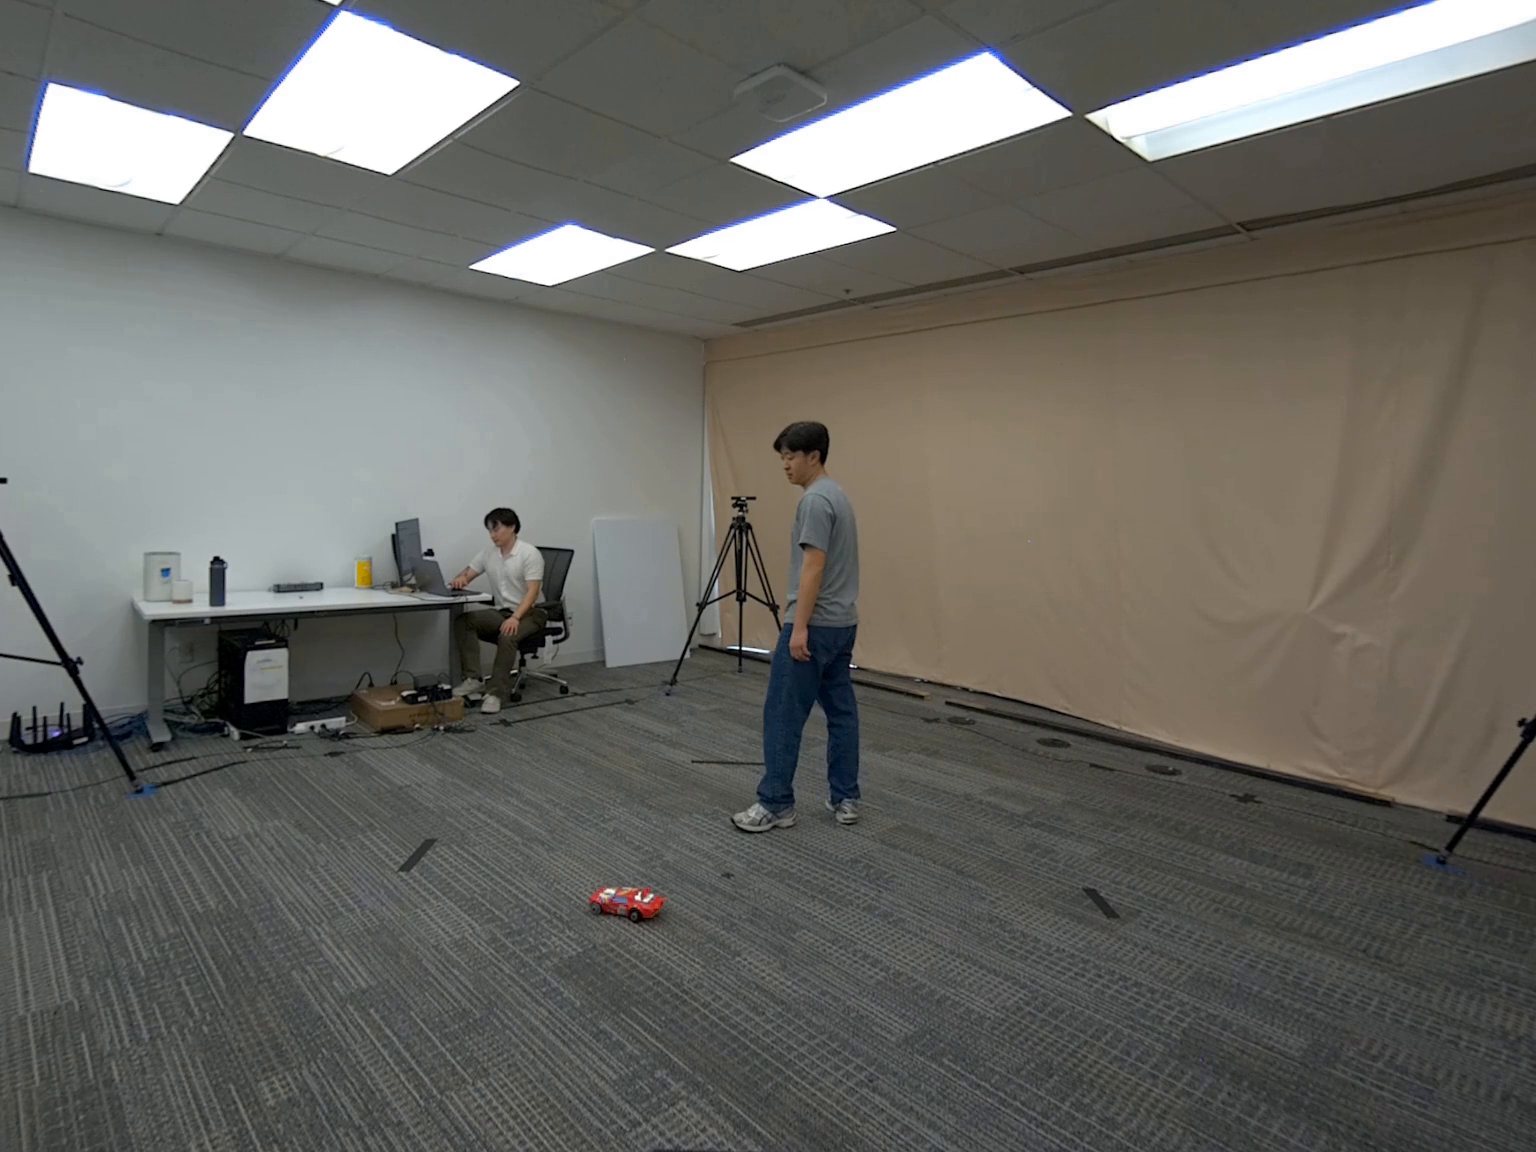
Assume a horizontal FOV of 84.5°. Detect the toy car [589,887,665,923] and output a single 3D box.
[{"bbox_3d":[-0.472,1.093,2.807,0.258,0.083,0.129,-9,1,20],"label":"toy car"}]
